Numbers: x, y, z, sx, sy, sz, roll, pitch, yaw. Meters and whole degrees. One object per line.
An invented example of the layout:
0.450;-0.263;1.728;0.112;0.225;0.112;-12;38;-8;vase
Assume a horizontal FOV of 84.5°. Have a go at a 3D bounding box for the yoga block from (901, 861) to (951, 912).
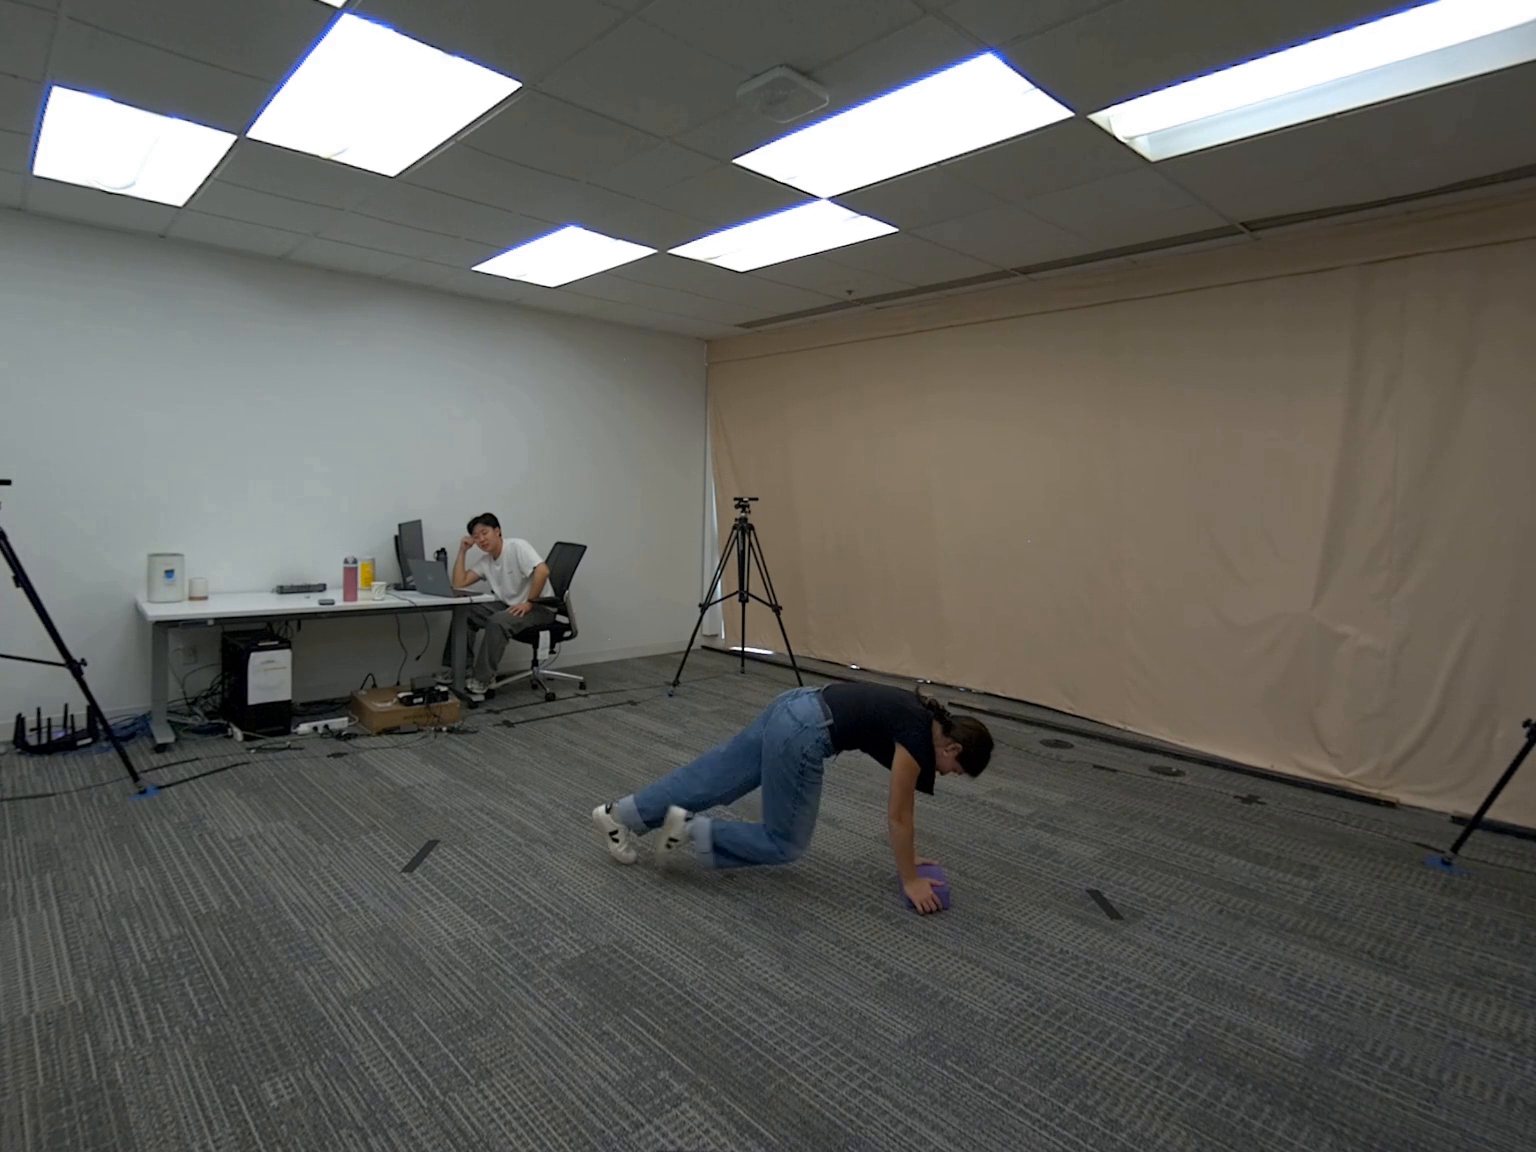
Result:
0.547;1.099;2.986;0.149;0.076;0.229;0;3;1;yoga block
